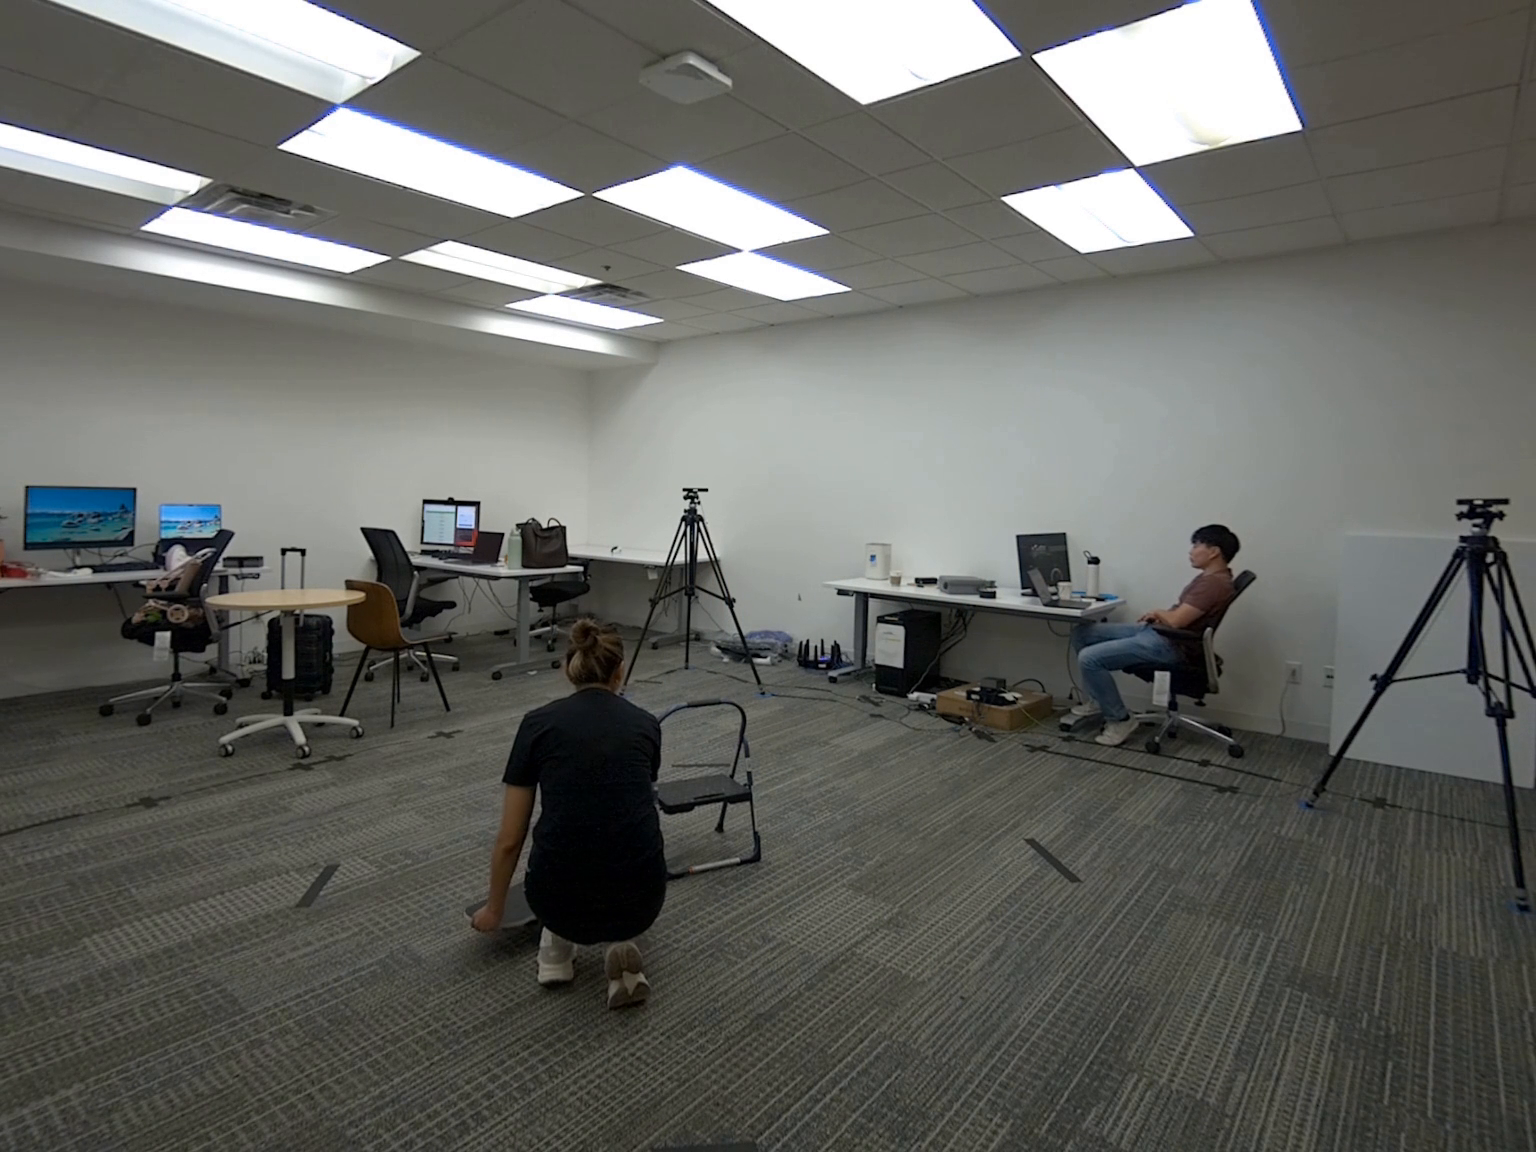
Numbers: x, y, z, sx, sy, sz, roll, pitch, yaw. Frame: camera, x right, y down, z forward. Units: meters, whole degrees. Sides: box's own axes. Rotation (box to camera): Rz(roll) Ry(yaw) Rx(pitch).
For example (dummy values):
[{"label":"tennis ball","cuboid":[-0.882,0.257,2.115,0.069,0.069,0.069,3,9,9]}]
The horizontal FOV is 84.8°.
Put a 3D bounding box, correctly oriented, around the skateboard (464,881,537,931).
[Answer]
[{"label":"skateboard","cuboid":[-0.693,1.037,2.817,0.199,0.110,0.764,4,5,31]}]
